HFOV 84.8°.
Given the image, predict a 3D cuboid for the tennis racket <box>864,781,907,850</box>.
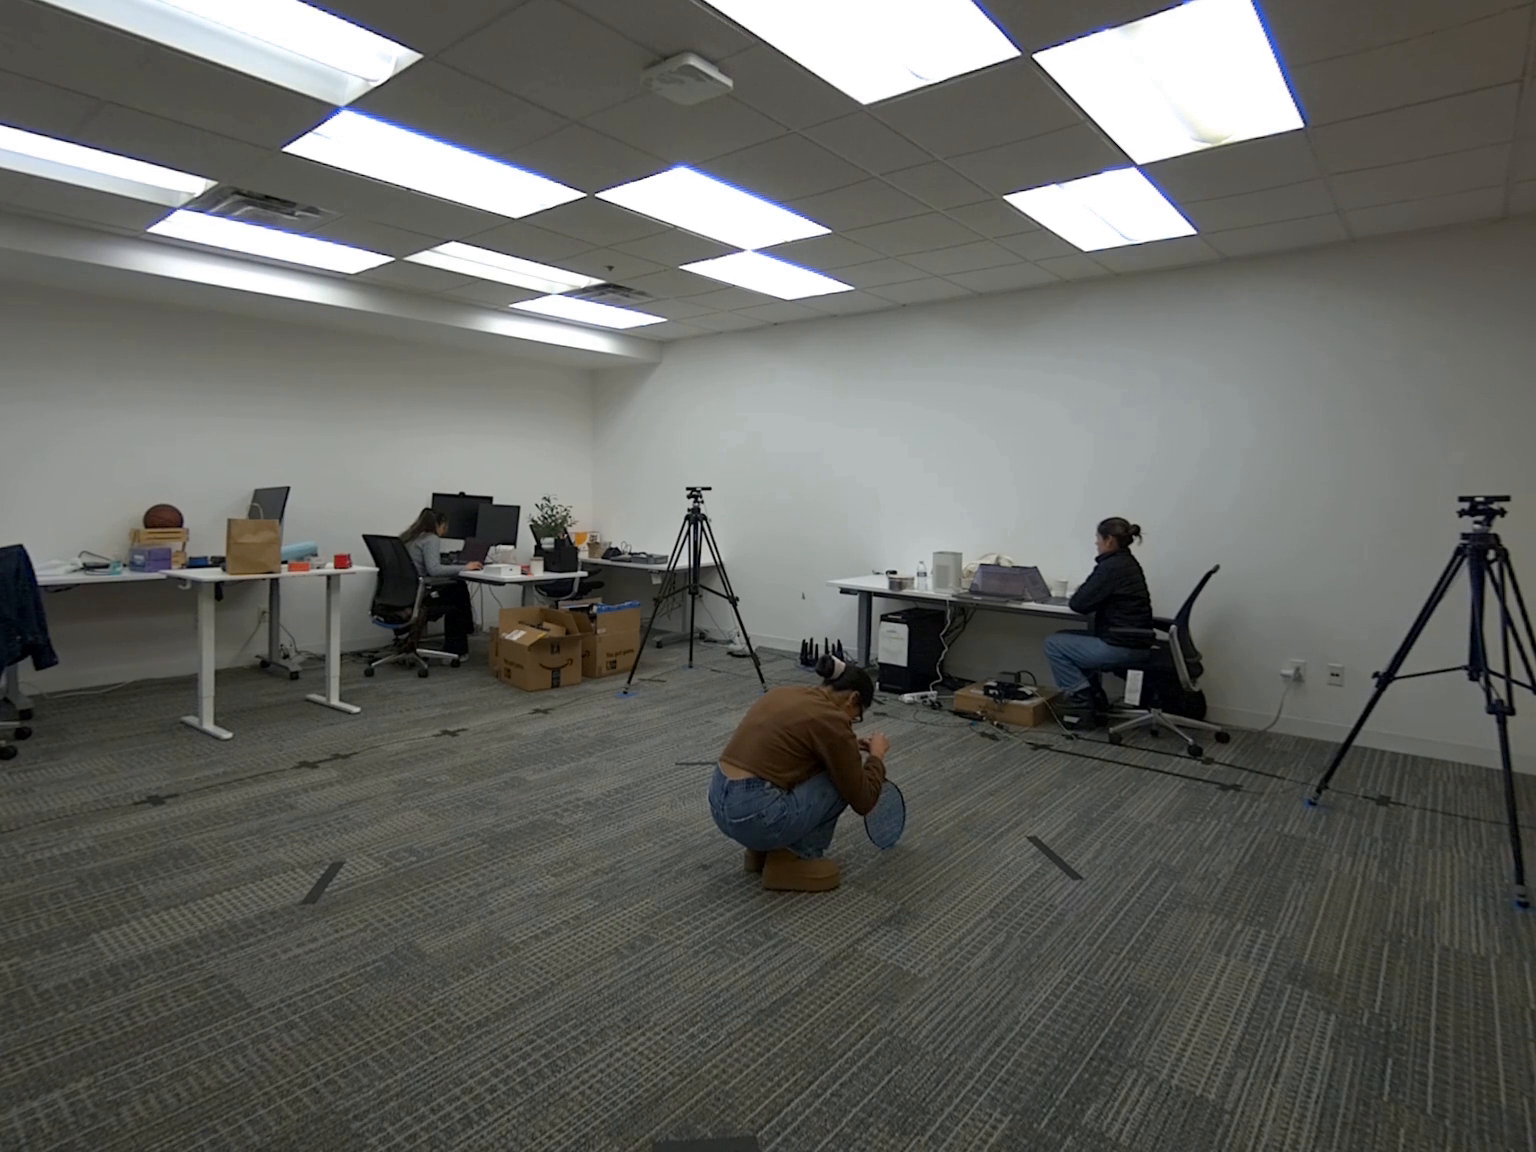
[{"bbox_3d":[0.435,0.848,3.309,0.209,0.430,0.032,-15,8,-33],"label":"tennis racket"}]
